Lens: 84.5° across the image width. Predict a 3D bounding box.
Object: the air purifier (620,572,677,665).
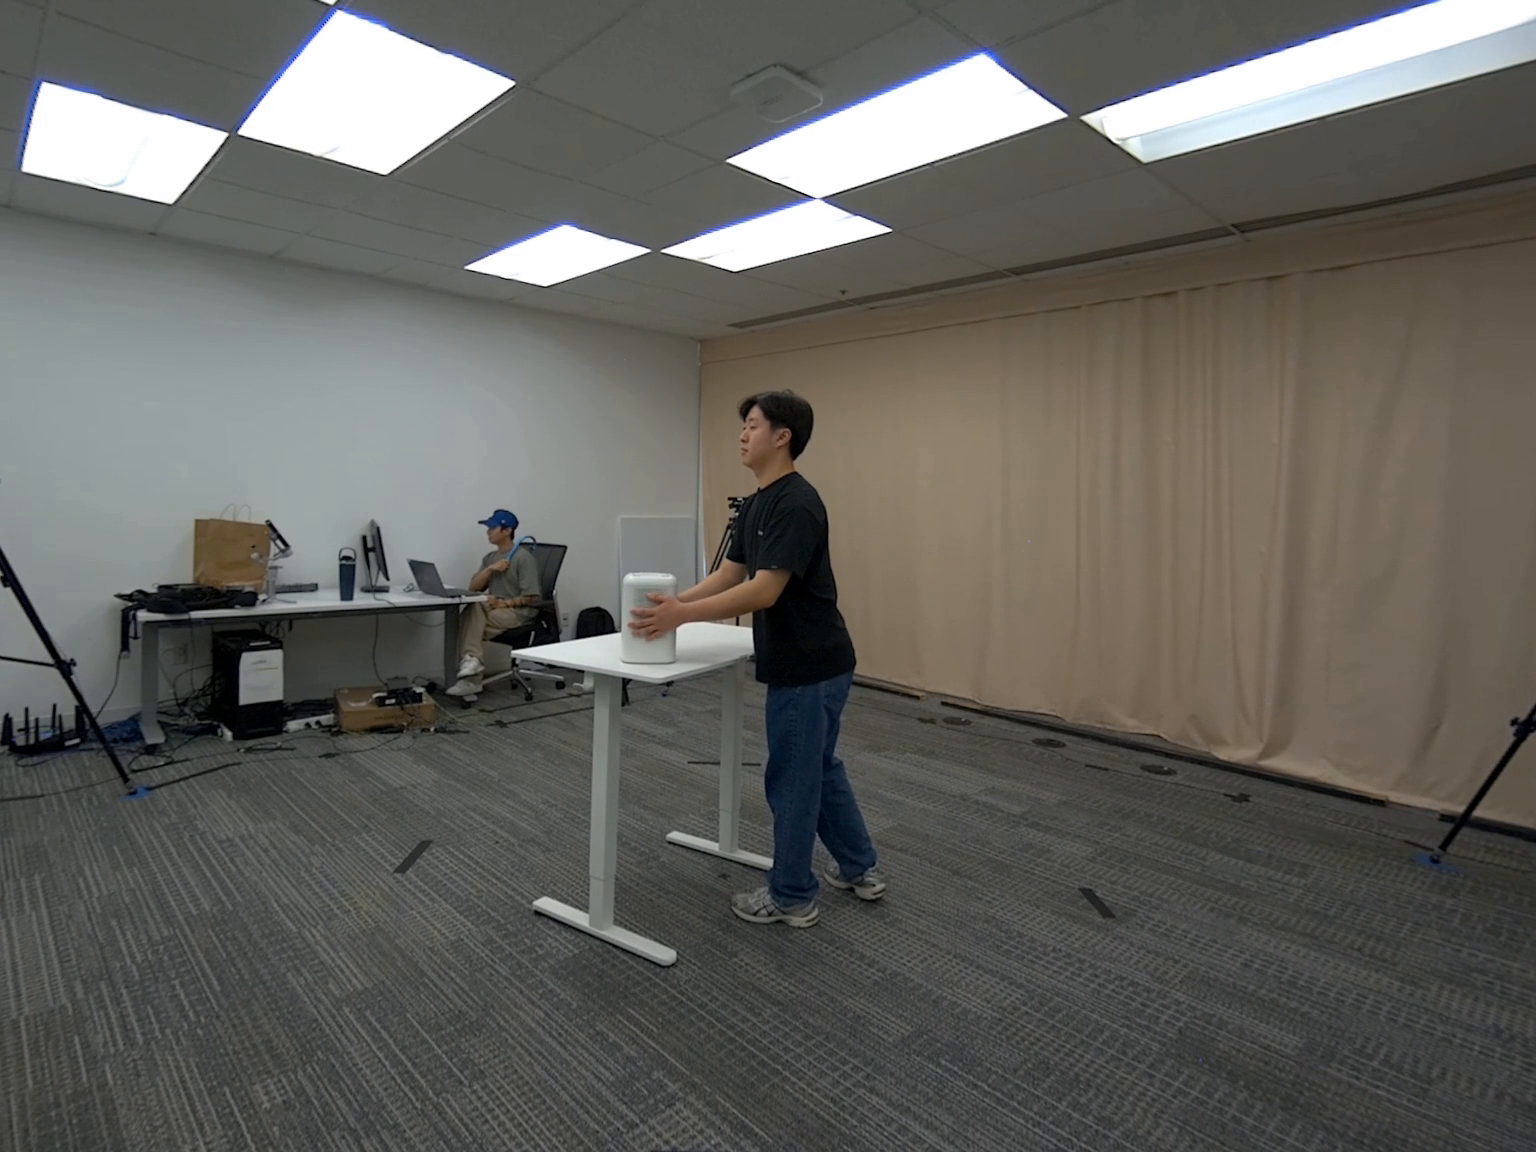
[{"bbox_3d":[-0.370,0.129,2.619,0.170,0.265,0.172,2,2,-8],"label":"air purifier"}]
